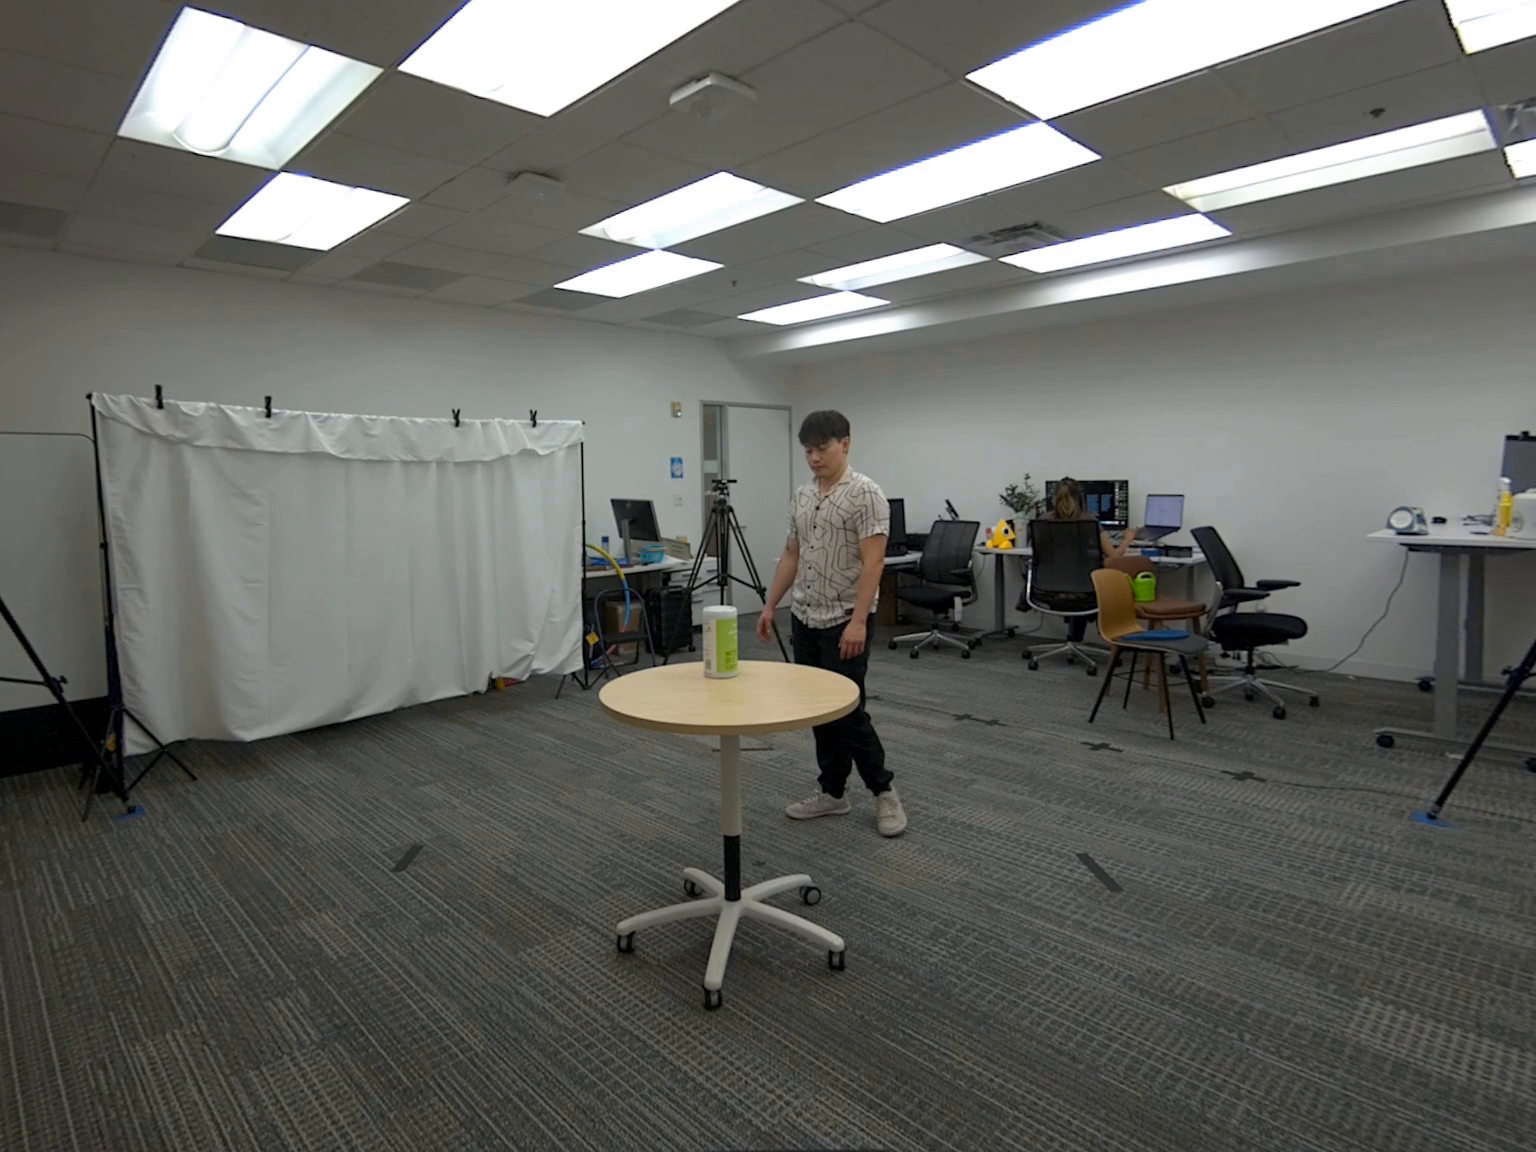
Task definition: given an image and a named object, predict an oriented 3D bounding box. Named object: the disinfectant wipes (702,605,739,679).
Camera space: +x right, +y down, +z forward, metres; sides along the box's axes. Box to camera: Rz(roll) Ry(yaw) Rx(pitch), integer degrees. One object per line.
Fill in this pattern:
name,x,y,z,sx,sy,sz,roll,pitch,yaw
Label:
disinfectant wipes,-0.150,0.209,2.699,0.118,0.217,0.118,0,3,-2
